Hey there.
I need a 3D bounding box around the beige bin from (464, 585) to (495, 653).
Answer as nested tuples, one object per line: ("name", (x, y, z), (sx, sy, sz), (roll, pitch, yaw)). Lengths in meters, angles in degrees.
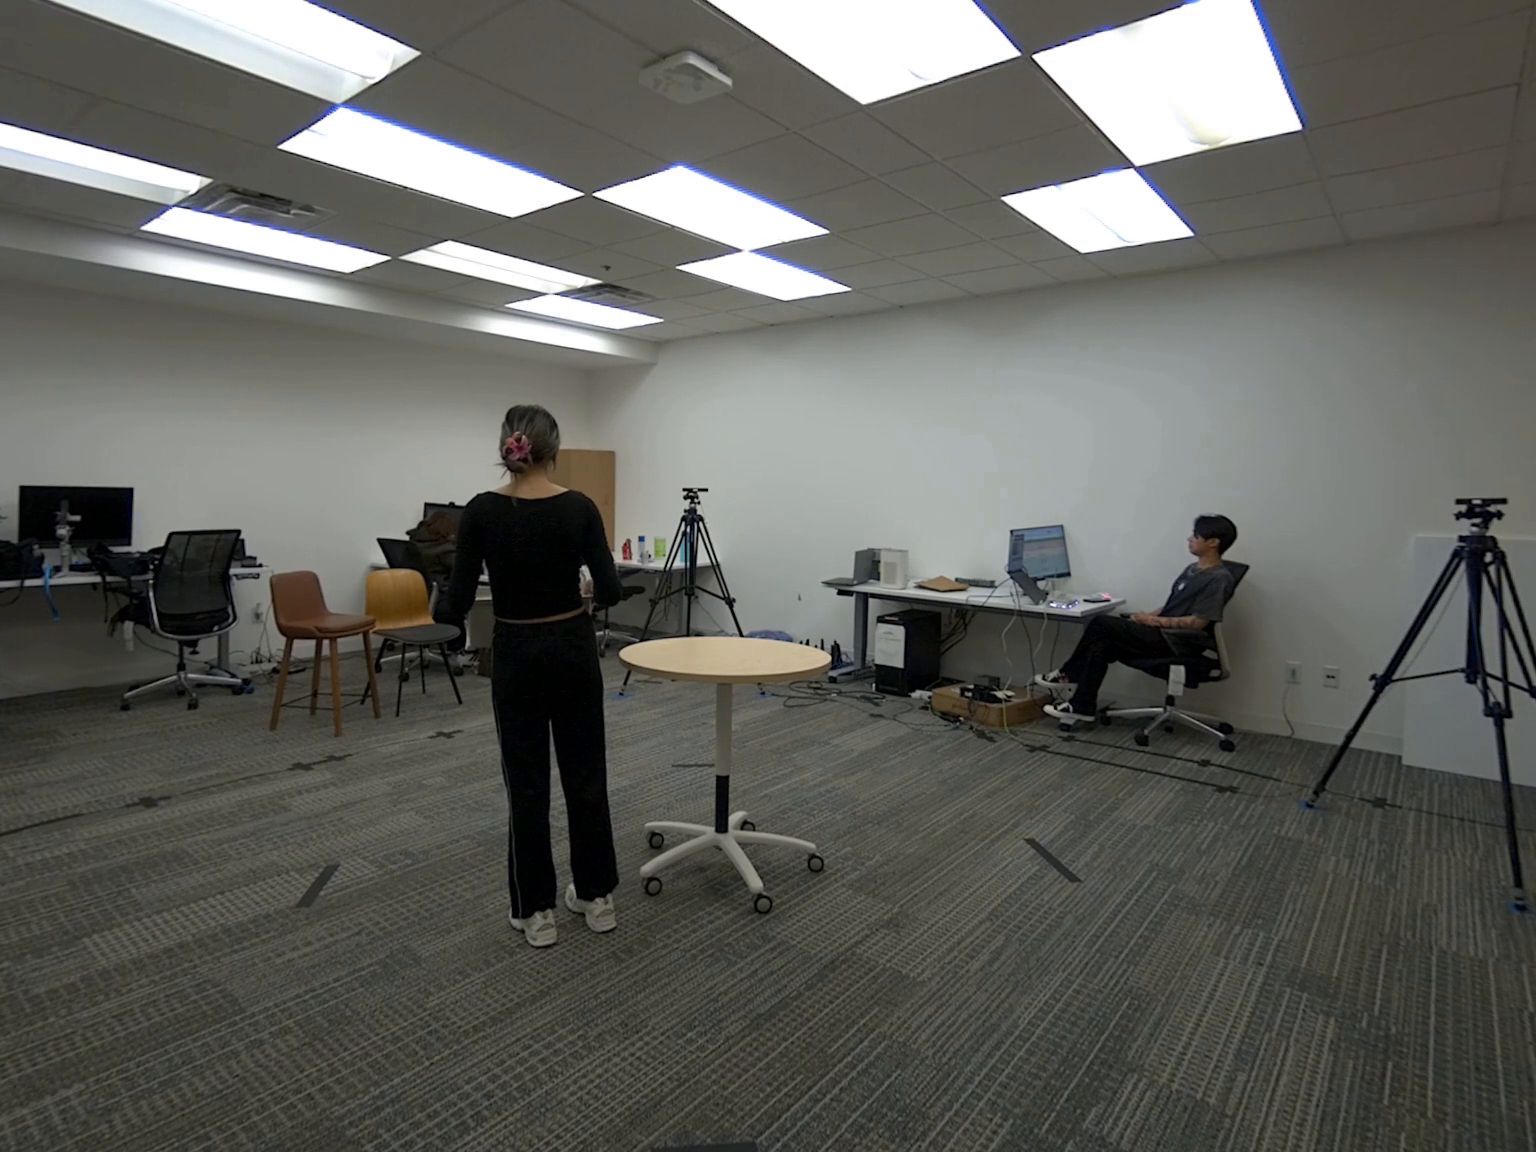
("beige bin", (-0.829, 0.099, 2.927), (0.415, 0.186, 0.389), (-2, 19, -16))
